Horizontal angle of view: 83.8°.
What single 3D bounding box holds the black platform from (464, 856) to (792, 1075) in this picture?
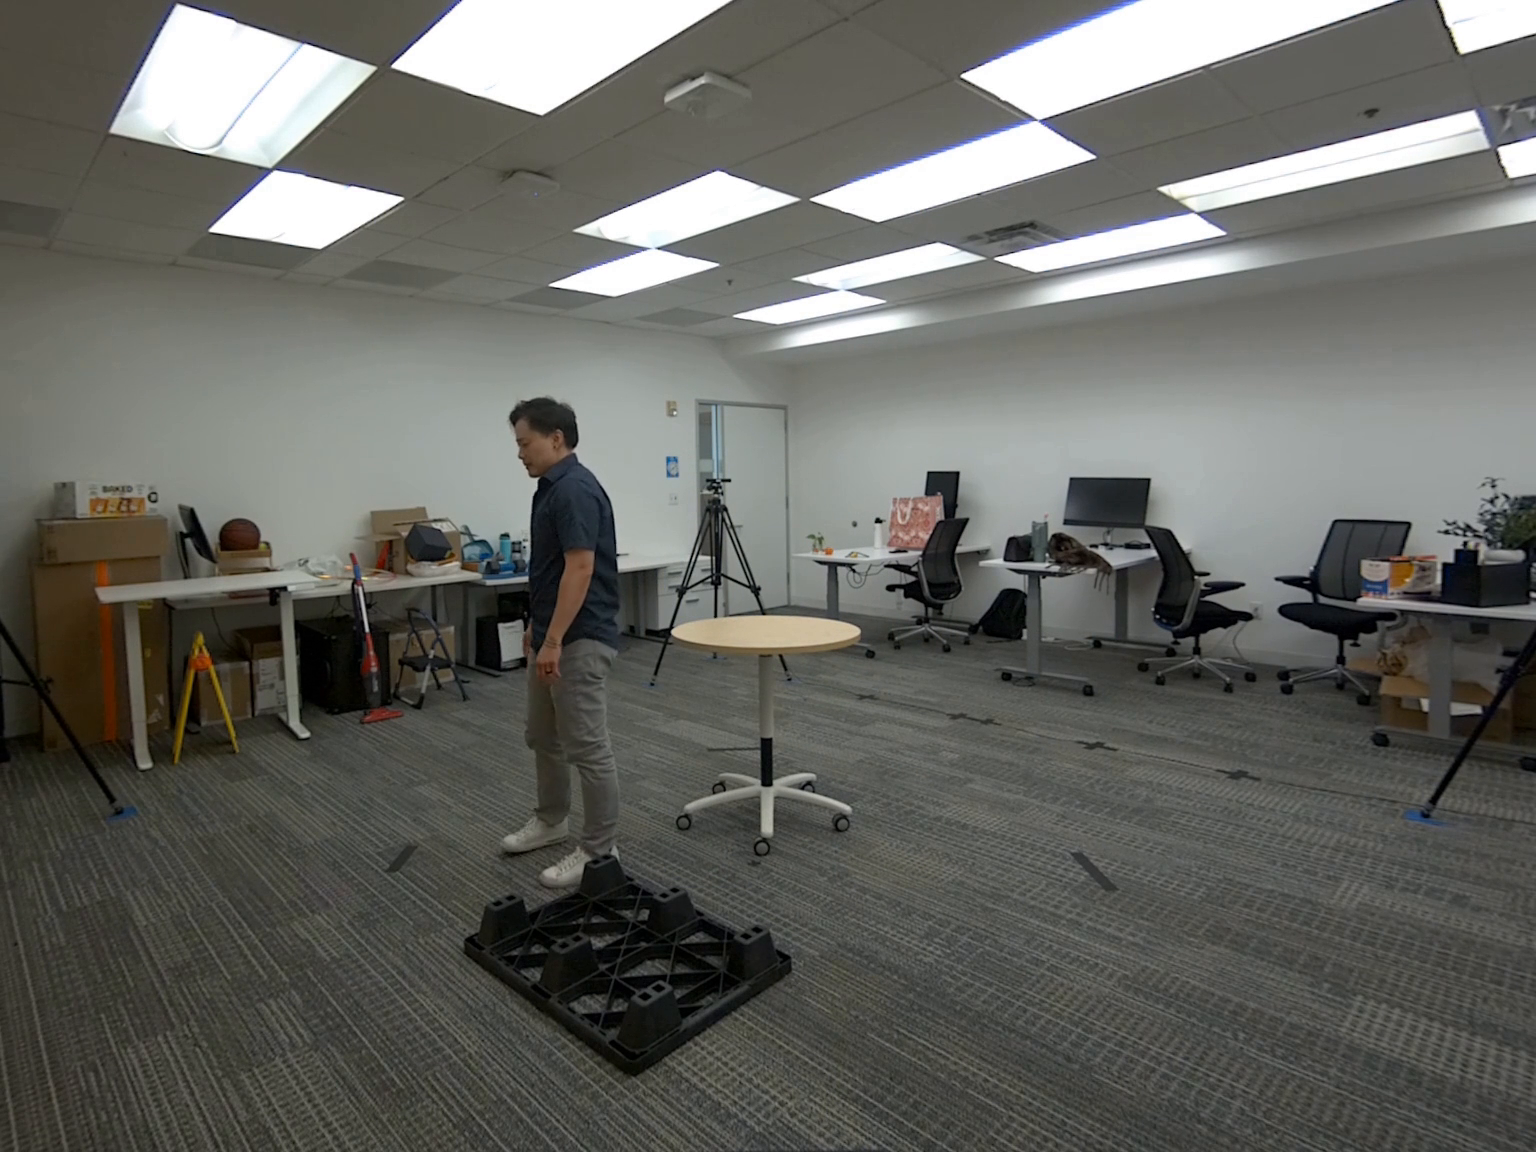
[{"bbox_3d":[-0.423,1.057,2.490,0.830,0.142,0.589,5,9,42],"label":"black platform"}]
